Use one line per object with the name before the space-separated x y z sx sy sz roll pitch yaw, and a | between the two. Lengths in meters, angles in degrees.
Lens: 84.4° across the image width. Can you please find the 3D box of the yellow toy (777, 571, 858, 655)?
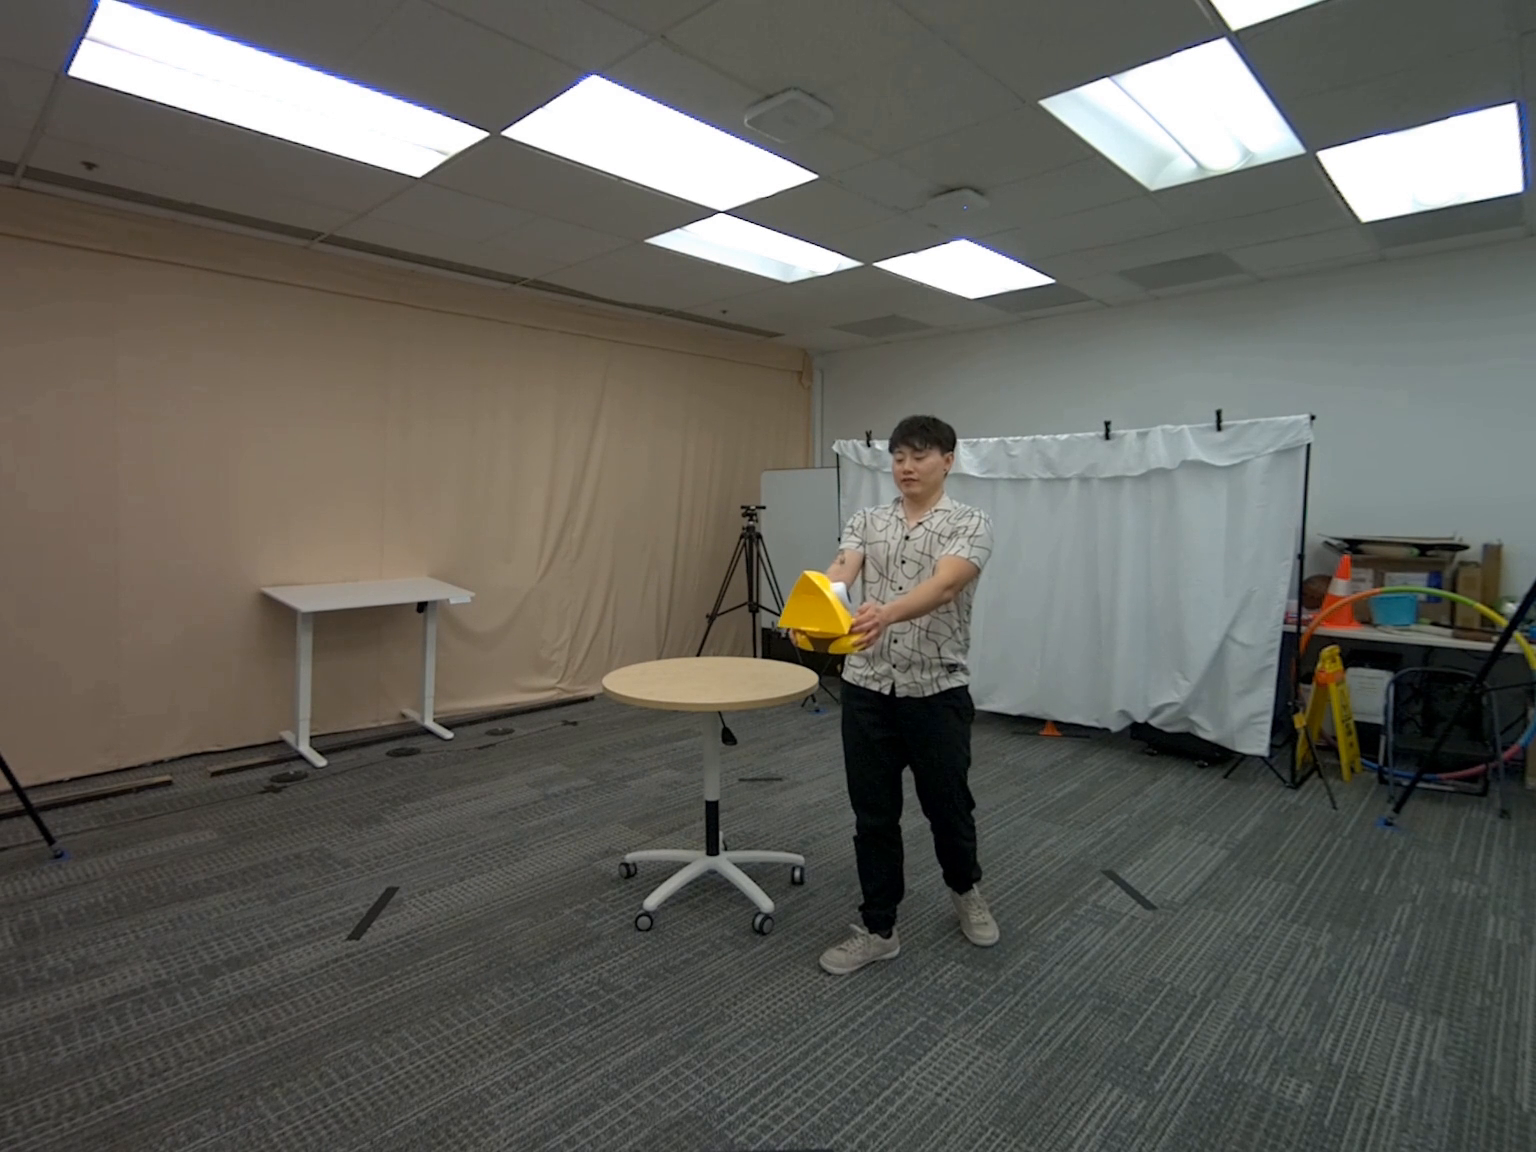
yellow toy | 0.153 0.064 2.177 0.211 0.226 0.190 3 29 36
